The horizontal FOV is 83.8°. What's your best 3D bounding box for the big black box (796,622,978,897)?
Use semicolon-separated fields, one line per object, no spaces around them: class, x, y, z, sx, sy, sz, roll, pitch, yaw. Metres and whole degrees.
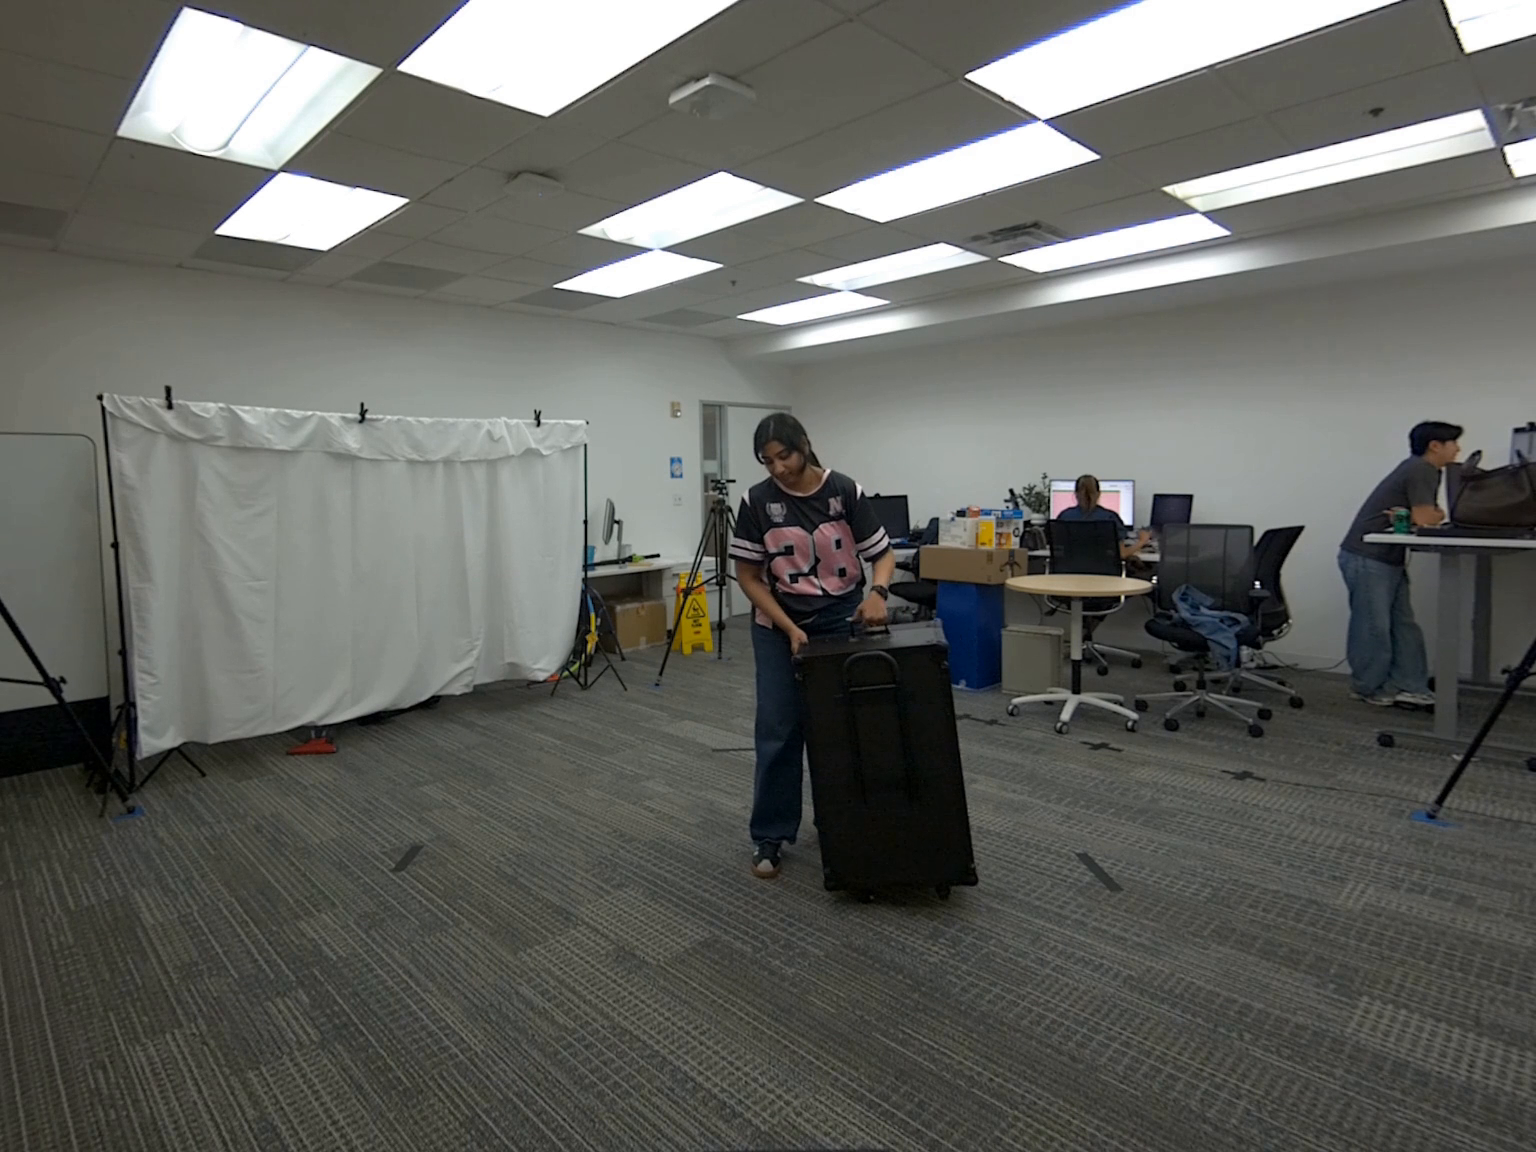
big black box;0.405;0.628;2.868;0.528;0.864;0.383;-7;5;10
